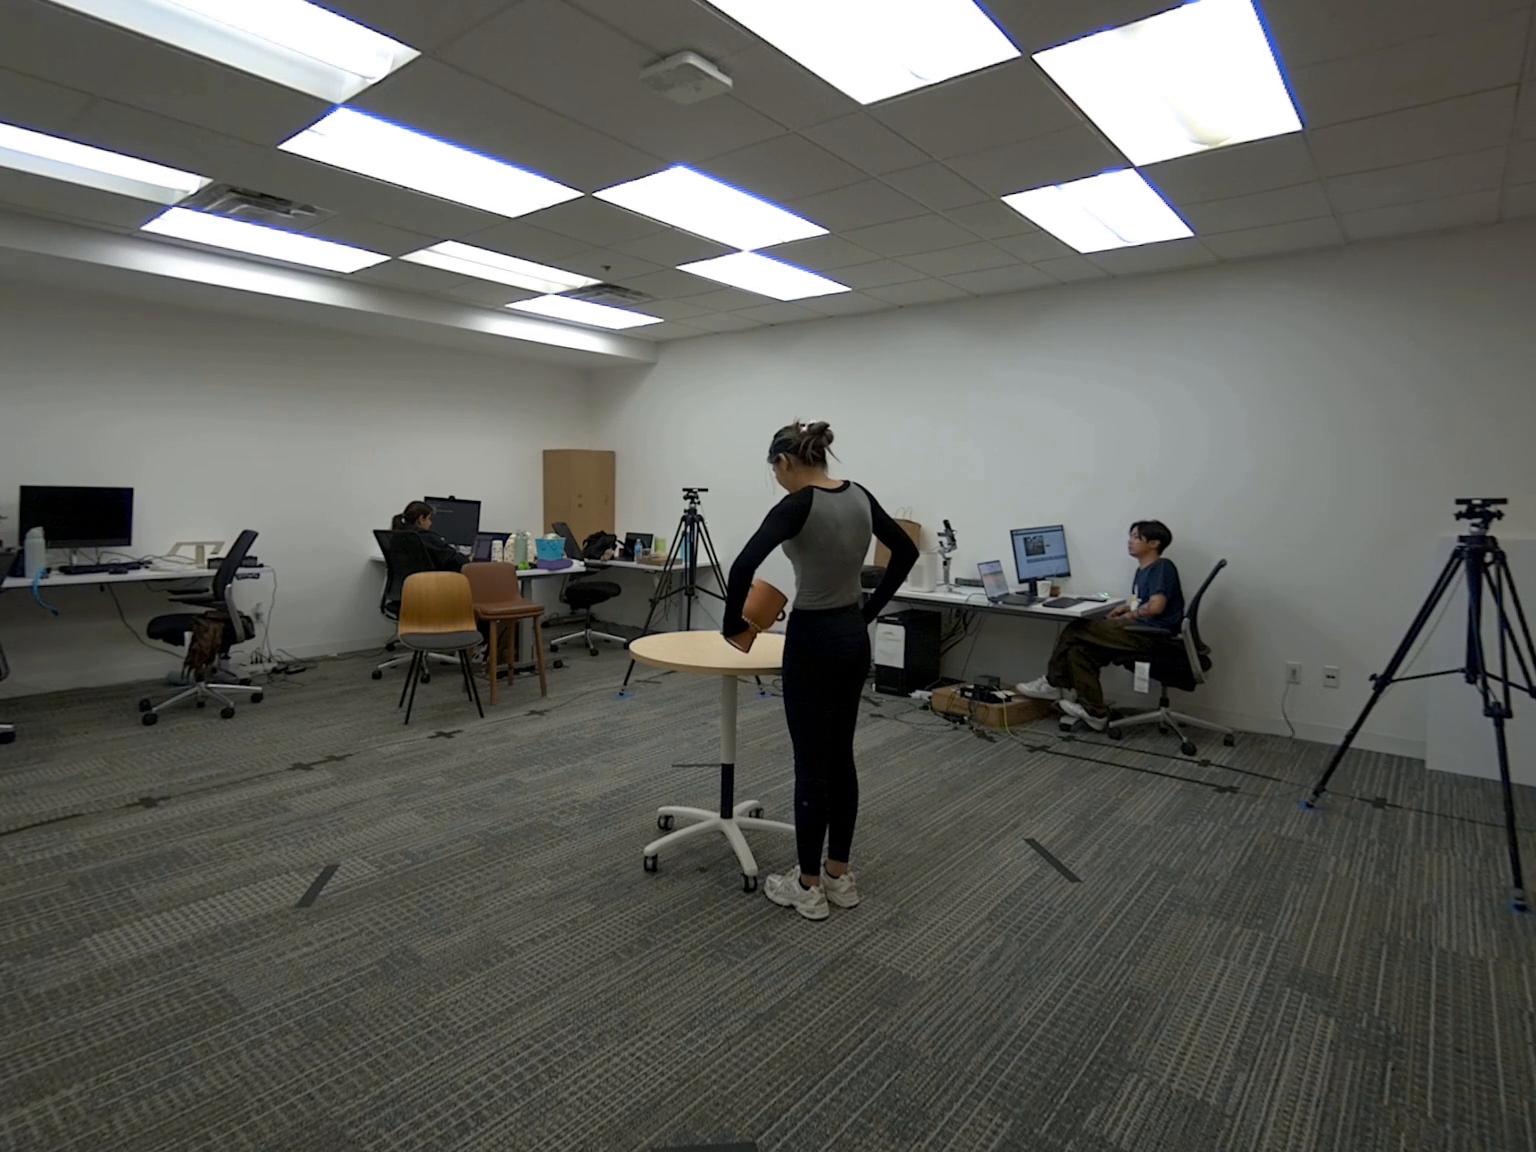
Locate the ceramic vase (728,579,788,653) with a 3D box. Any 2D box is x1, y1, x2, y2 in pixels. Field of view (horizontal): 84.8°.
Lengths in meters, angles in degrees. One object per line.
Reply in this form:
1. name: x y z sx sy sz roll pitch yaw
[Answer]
1. ceramic vase: -0.056 0.137 2.772 0.163 0.220 0.131 31 -12 18
